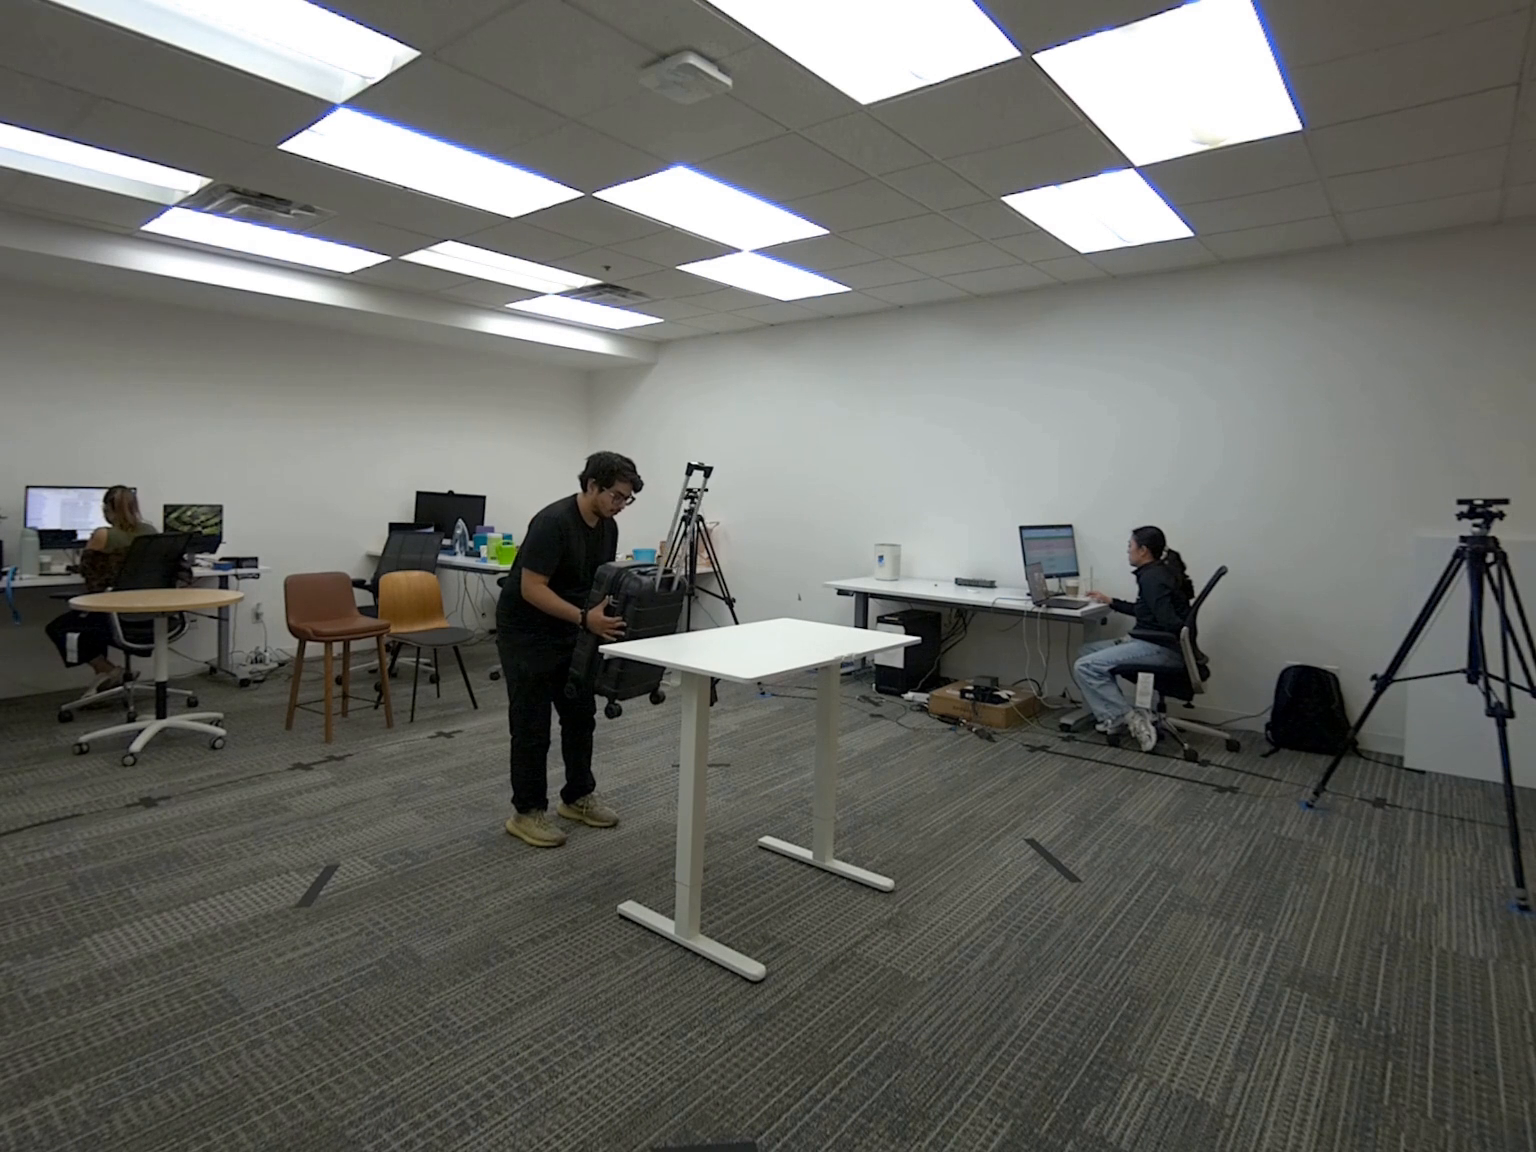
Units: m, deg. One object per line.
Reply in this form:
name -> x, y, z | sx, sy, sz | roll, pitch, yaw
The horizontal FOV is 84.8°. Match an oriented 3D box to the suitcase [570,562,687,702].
suitcase -> -0.499, 0.020, 3.251 | 0.265, 0.973, 0.374 | 18, 9, 25
